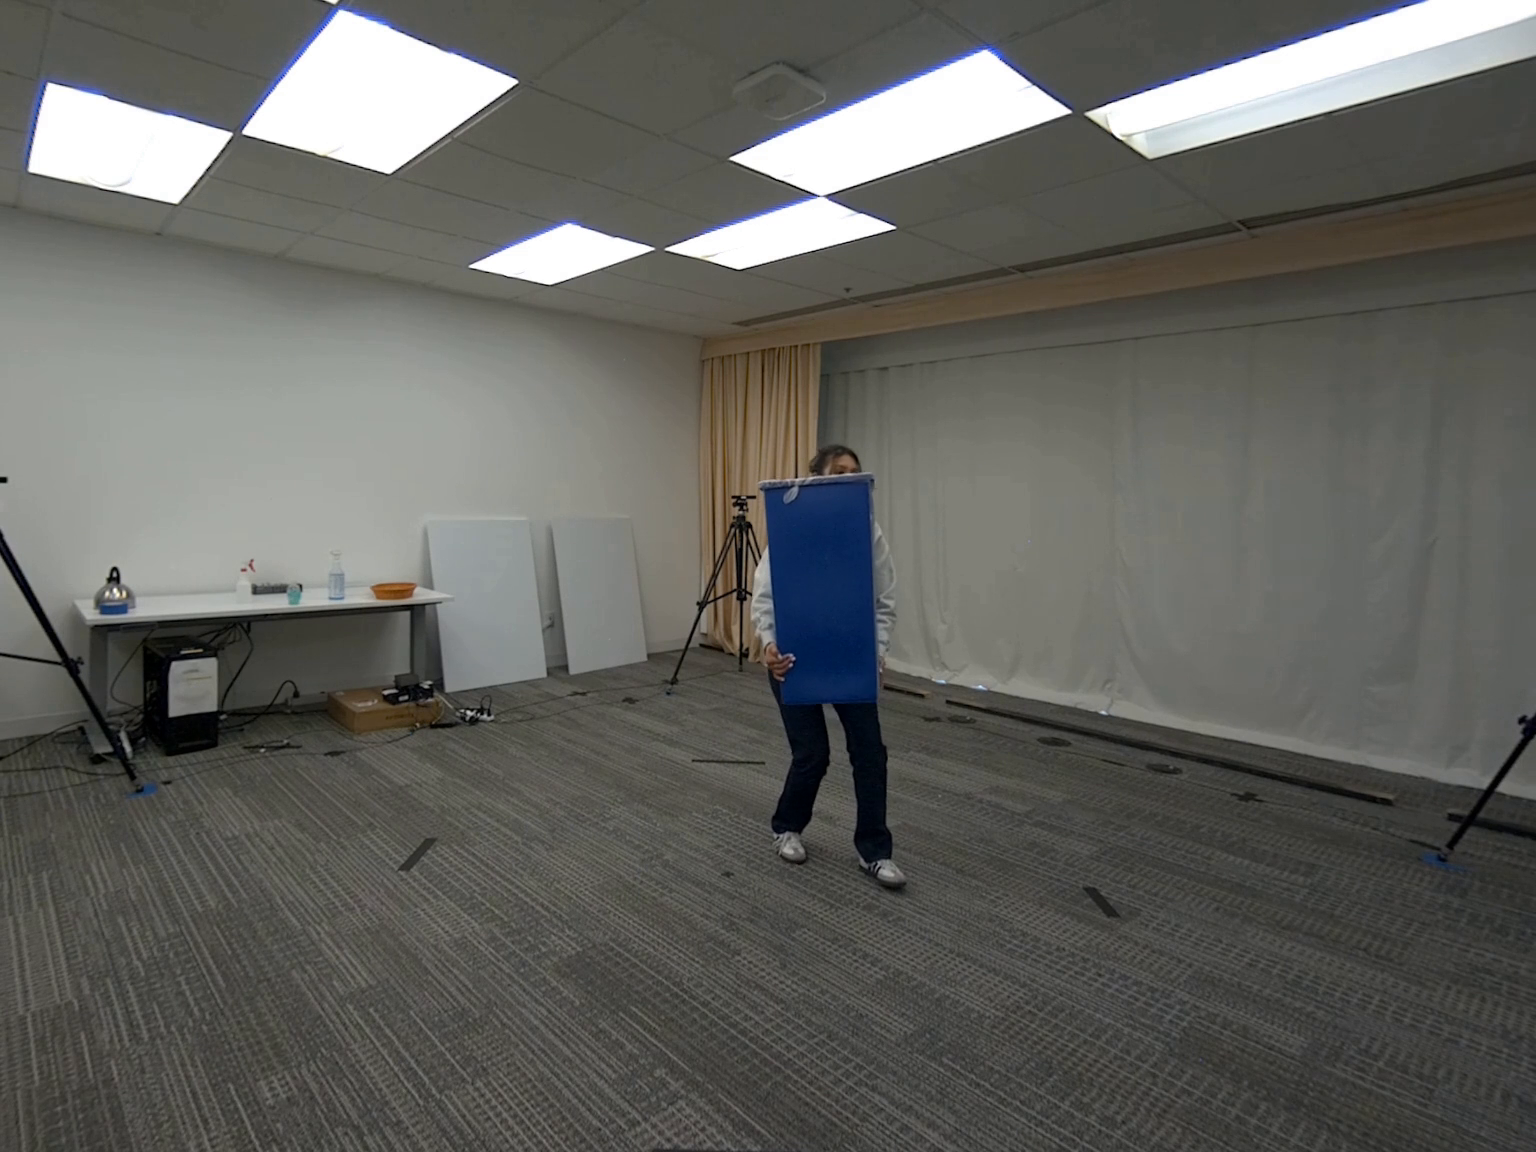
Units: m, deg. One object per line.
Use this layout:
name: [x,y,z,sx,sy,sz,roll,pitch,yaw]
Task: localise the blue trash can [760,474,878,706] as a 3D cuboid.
blue trash can: [0.179,0.045,2.815,0.380,0.715,0.371,-3,-2,7]
